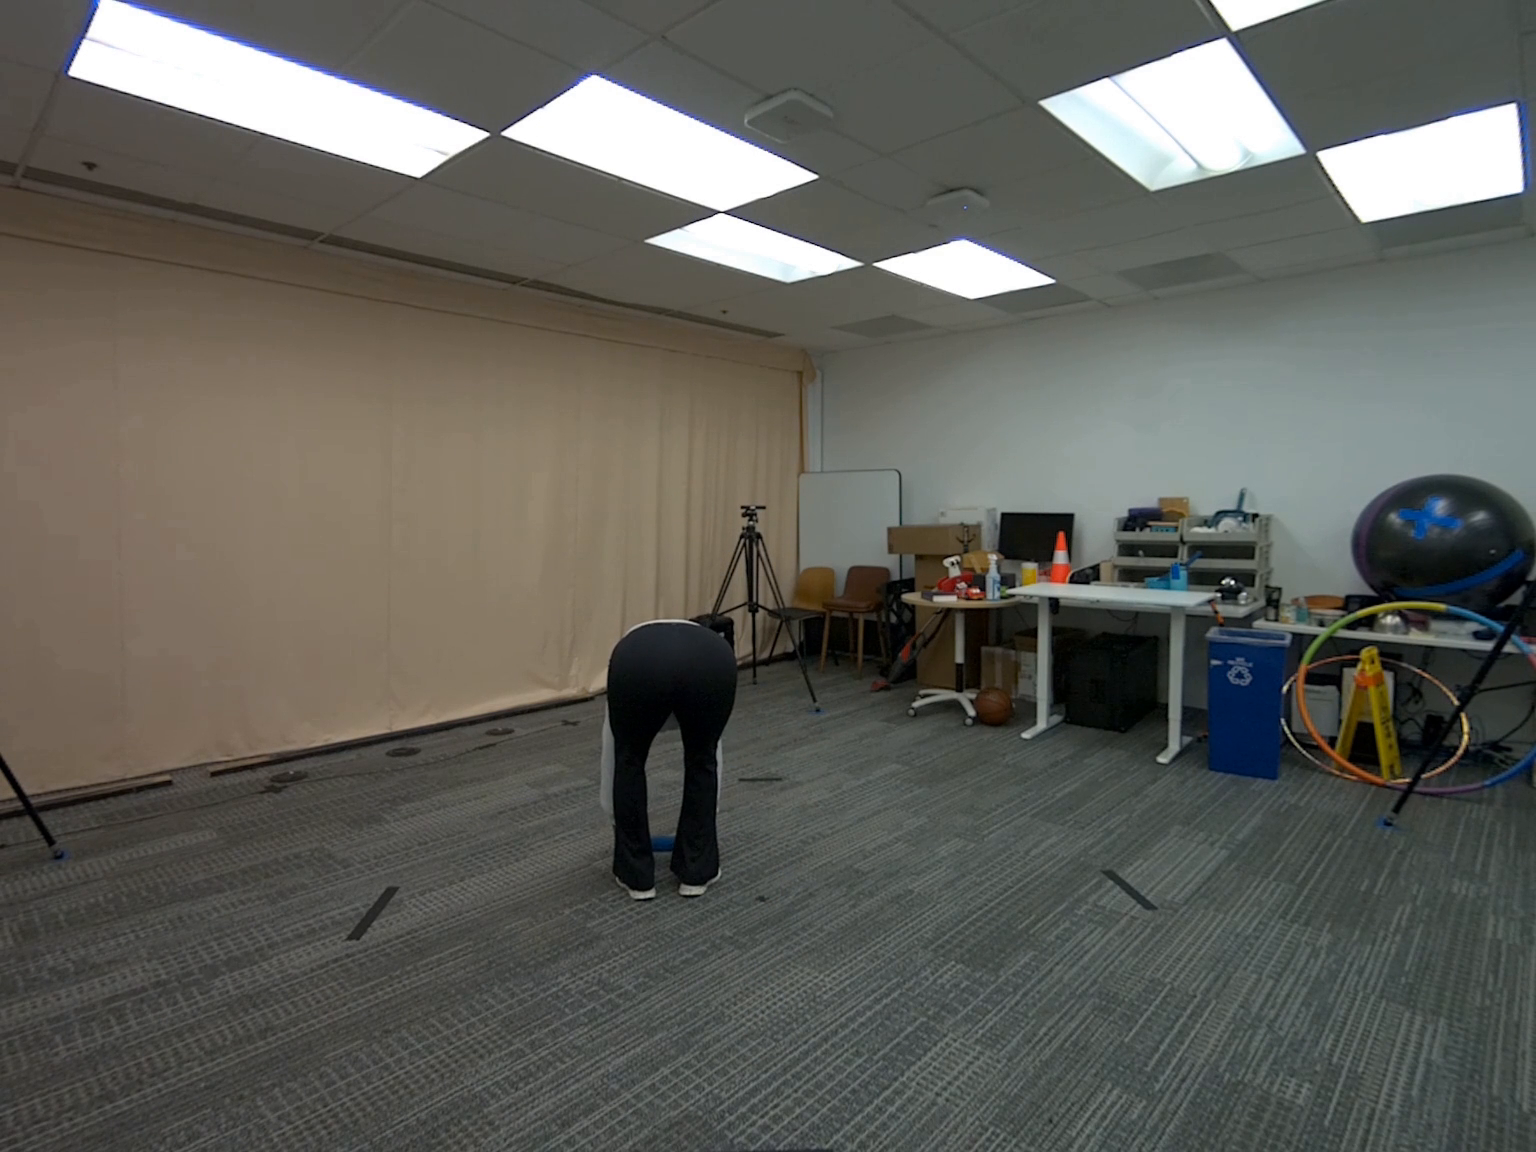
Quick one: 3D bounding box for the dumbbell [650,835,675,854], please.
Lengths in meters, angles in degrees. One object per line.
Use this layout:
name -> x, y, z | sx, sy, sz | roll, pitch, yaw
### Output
dumbbell -> -0.415, 1.047, 3.269 | 0.291, 0.124, 0.108 | 0, -17, -8
